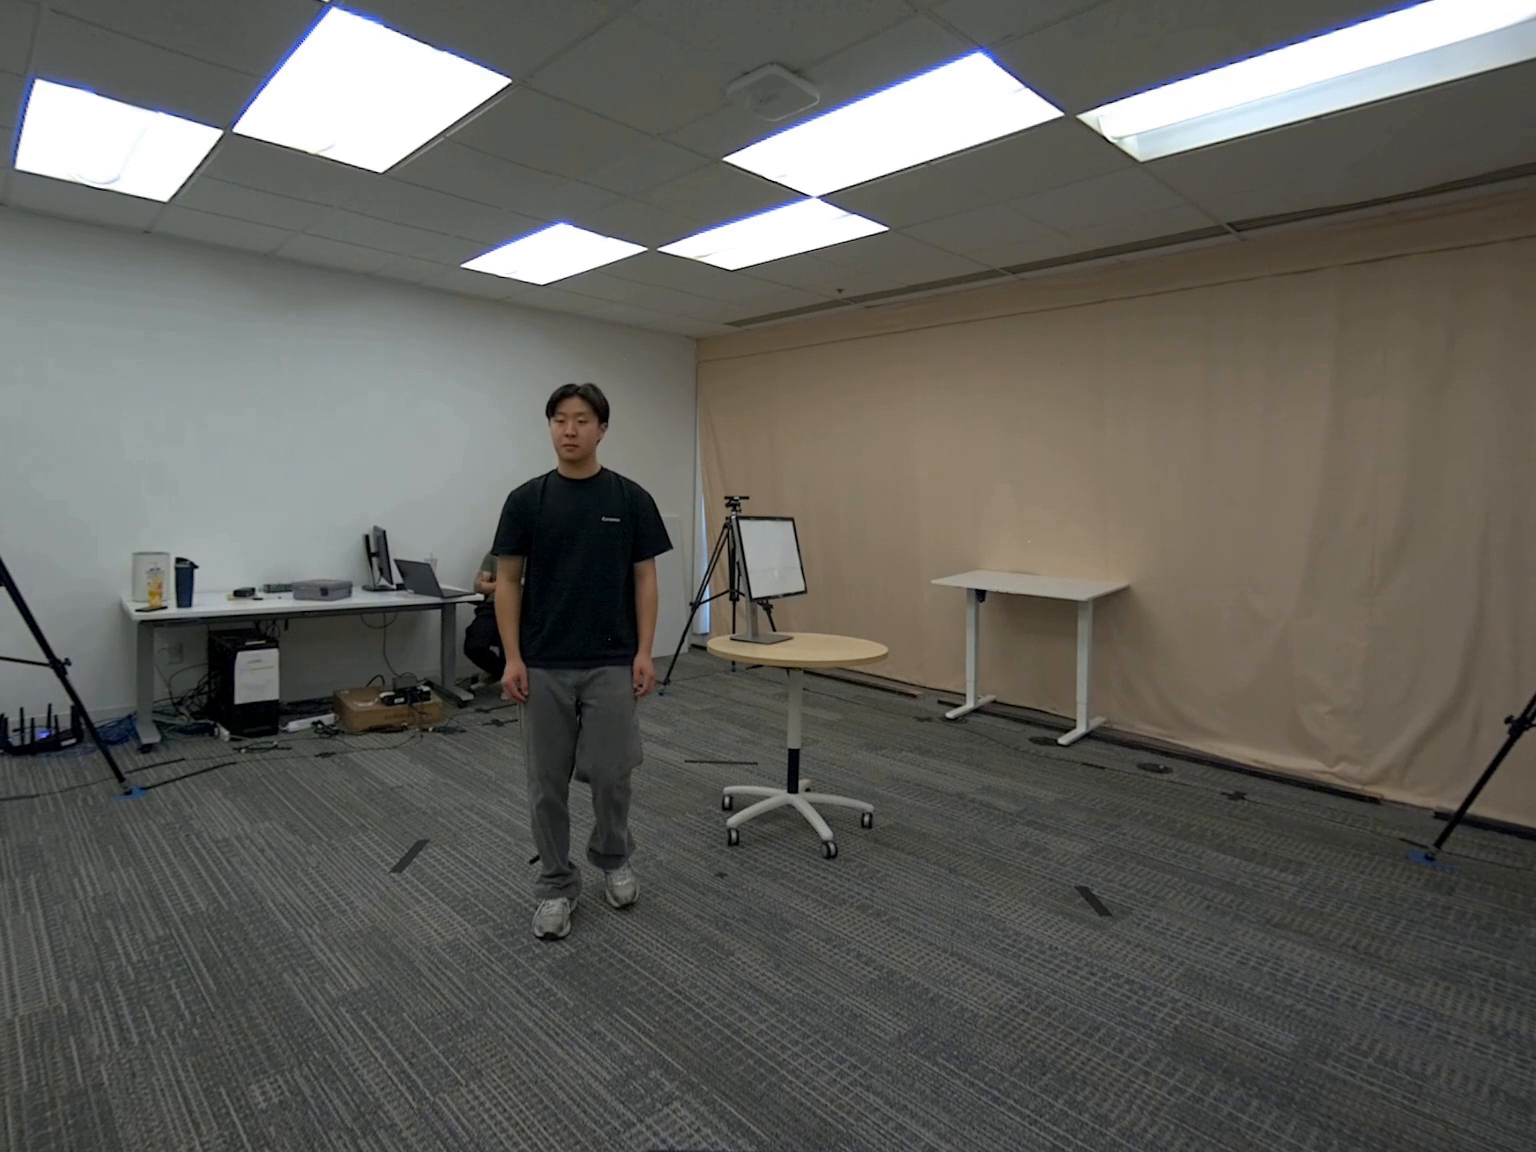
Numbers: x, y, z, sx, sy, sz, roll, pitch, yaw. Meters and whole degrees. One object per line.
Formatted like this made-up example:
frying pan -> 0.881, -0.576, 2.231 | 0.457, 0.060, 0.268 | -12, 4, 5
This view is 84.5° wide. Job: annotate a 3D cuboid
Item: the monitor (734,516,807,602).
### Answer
monitor -> -0.020, 0.020, 3.708 | 0.227, 0.564, 0.550 | 6, 5, 30
